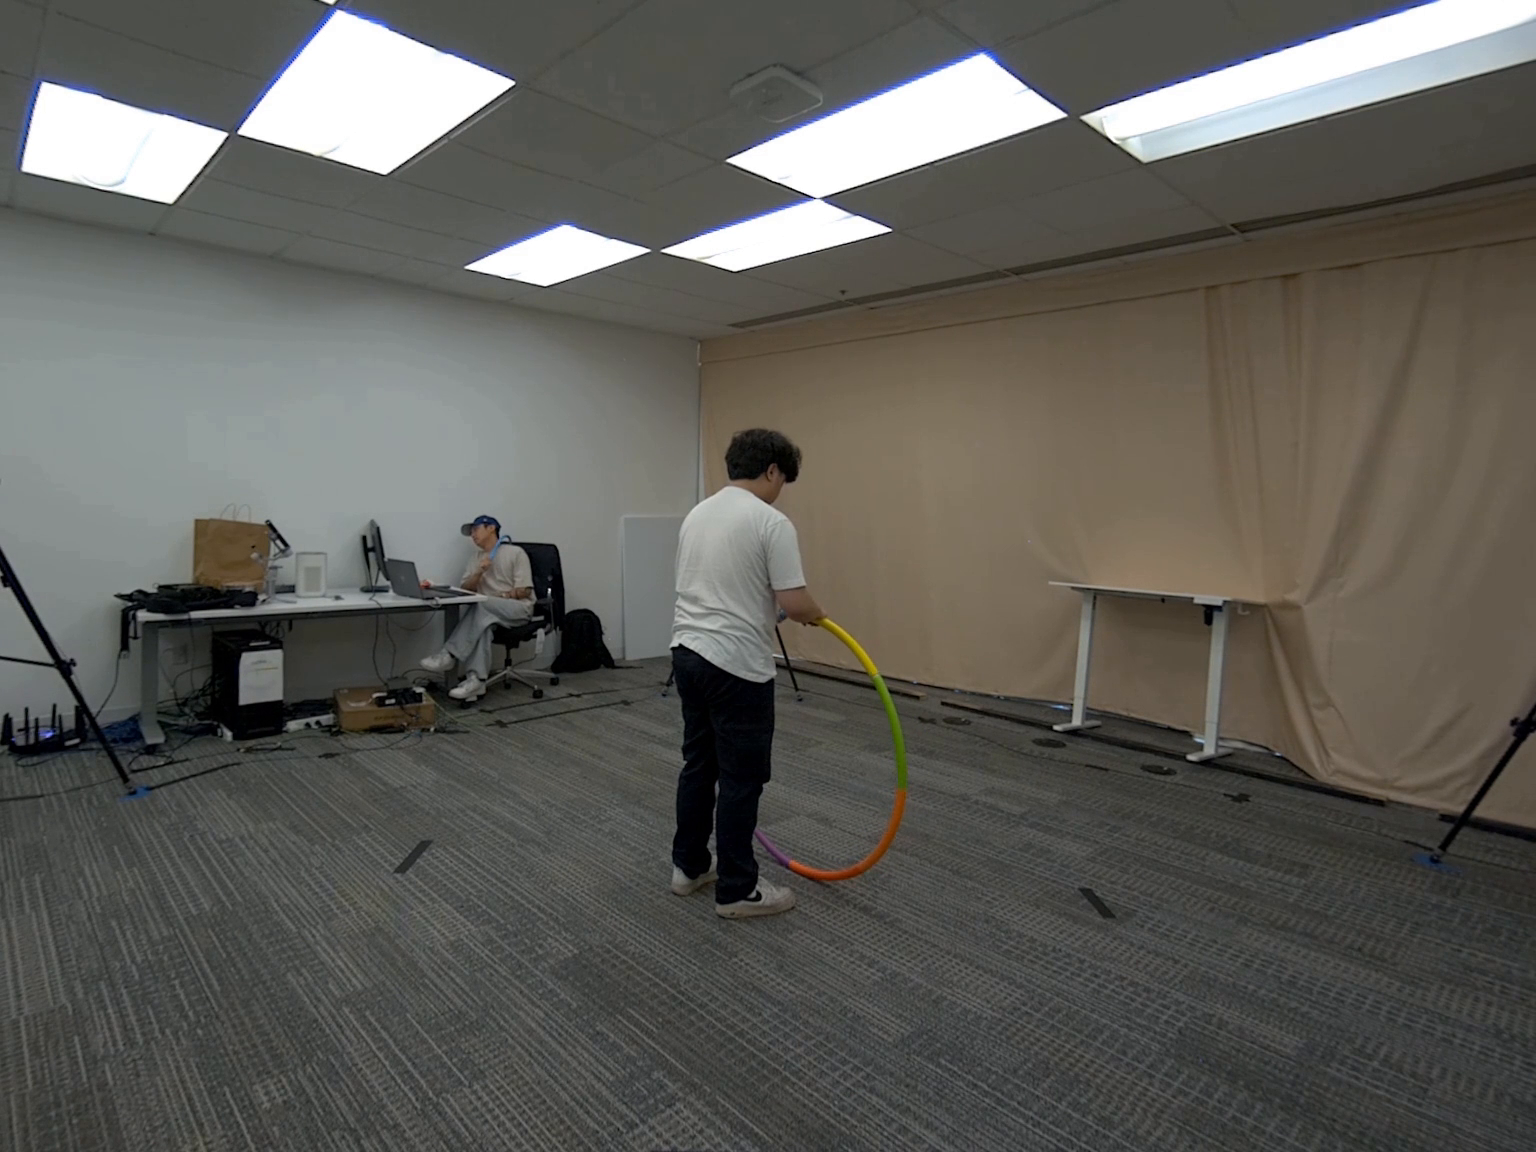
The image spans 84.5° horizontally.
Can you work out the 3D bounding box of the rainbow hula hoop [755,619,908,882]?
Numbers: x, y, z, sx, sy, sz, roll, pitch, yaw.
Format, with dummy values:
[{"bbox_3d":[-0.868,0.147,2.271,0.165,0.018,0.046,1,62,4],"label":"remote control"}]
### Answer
[{"bbox_3d":[0.112,0.620,3.117,0.050,0.982,1.011,-4,6,-41],"label":"rainbow hula hoop"}]
